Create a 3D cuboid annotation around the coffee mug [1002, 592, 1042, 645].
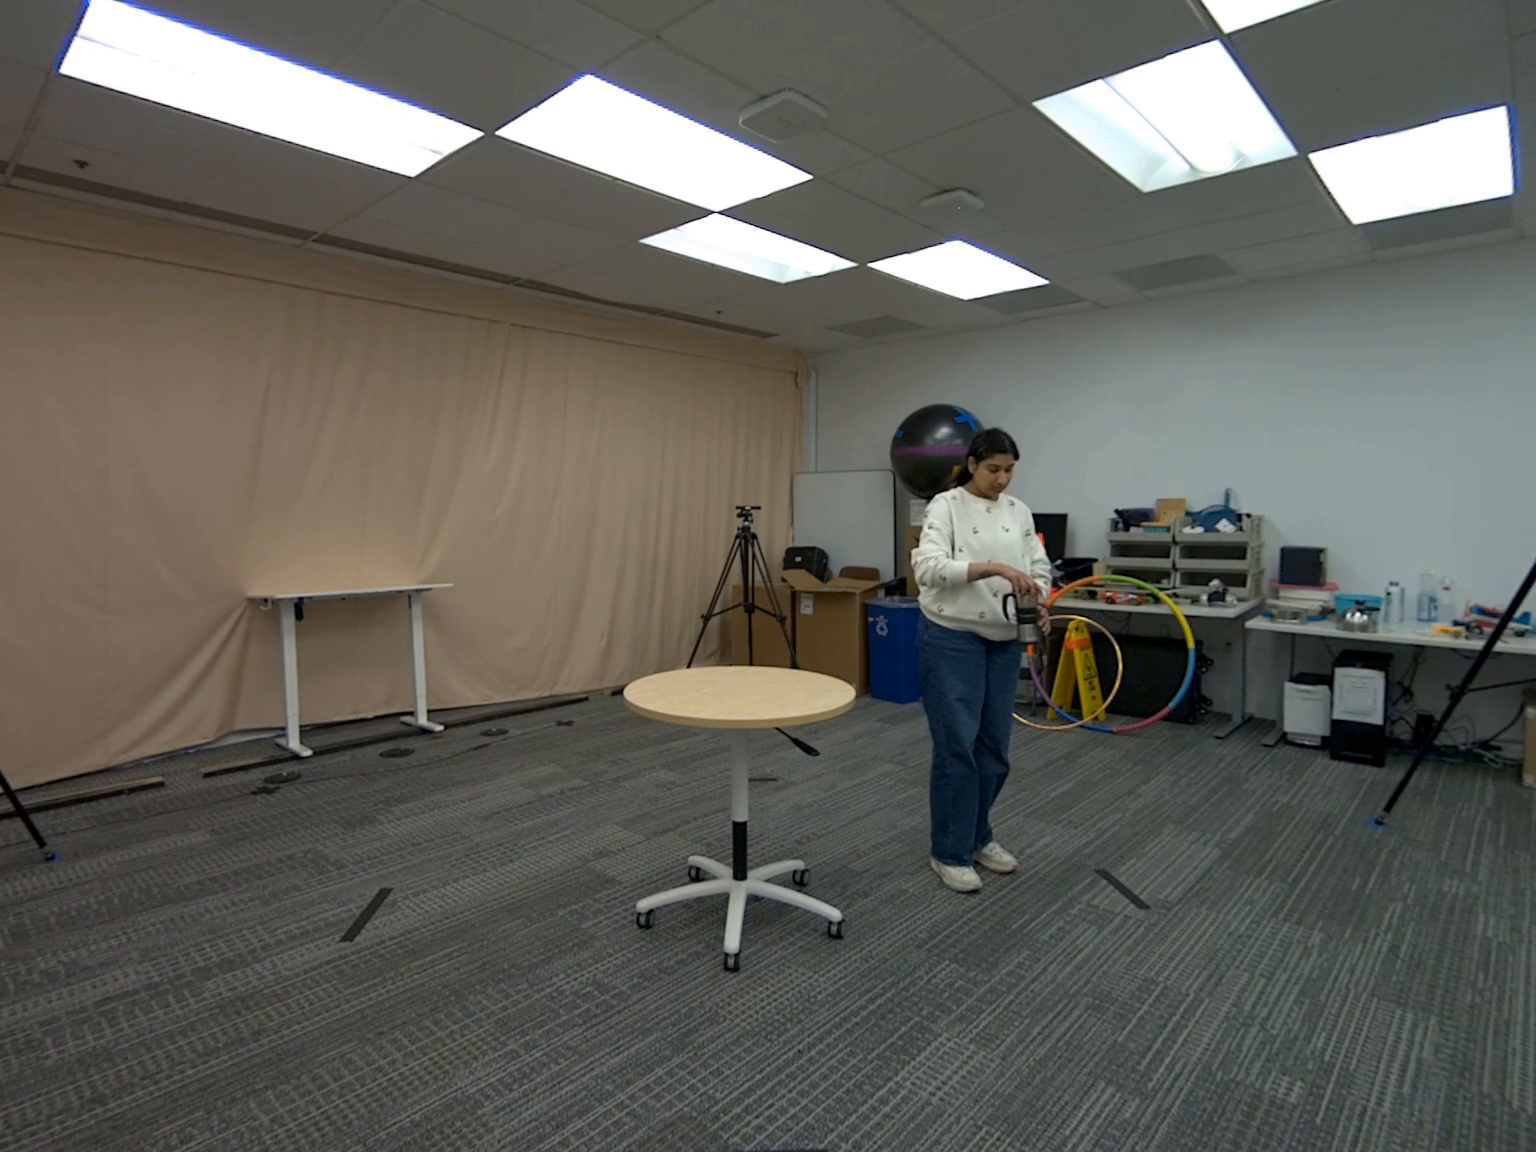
[{"bbox_3d":[0.891,0.140,2.987,0.126,0.202,0.085,3,10,42],"label":"coffee mug"}]
